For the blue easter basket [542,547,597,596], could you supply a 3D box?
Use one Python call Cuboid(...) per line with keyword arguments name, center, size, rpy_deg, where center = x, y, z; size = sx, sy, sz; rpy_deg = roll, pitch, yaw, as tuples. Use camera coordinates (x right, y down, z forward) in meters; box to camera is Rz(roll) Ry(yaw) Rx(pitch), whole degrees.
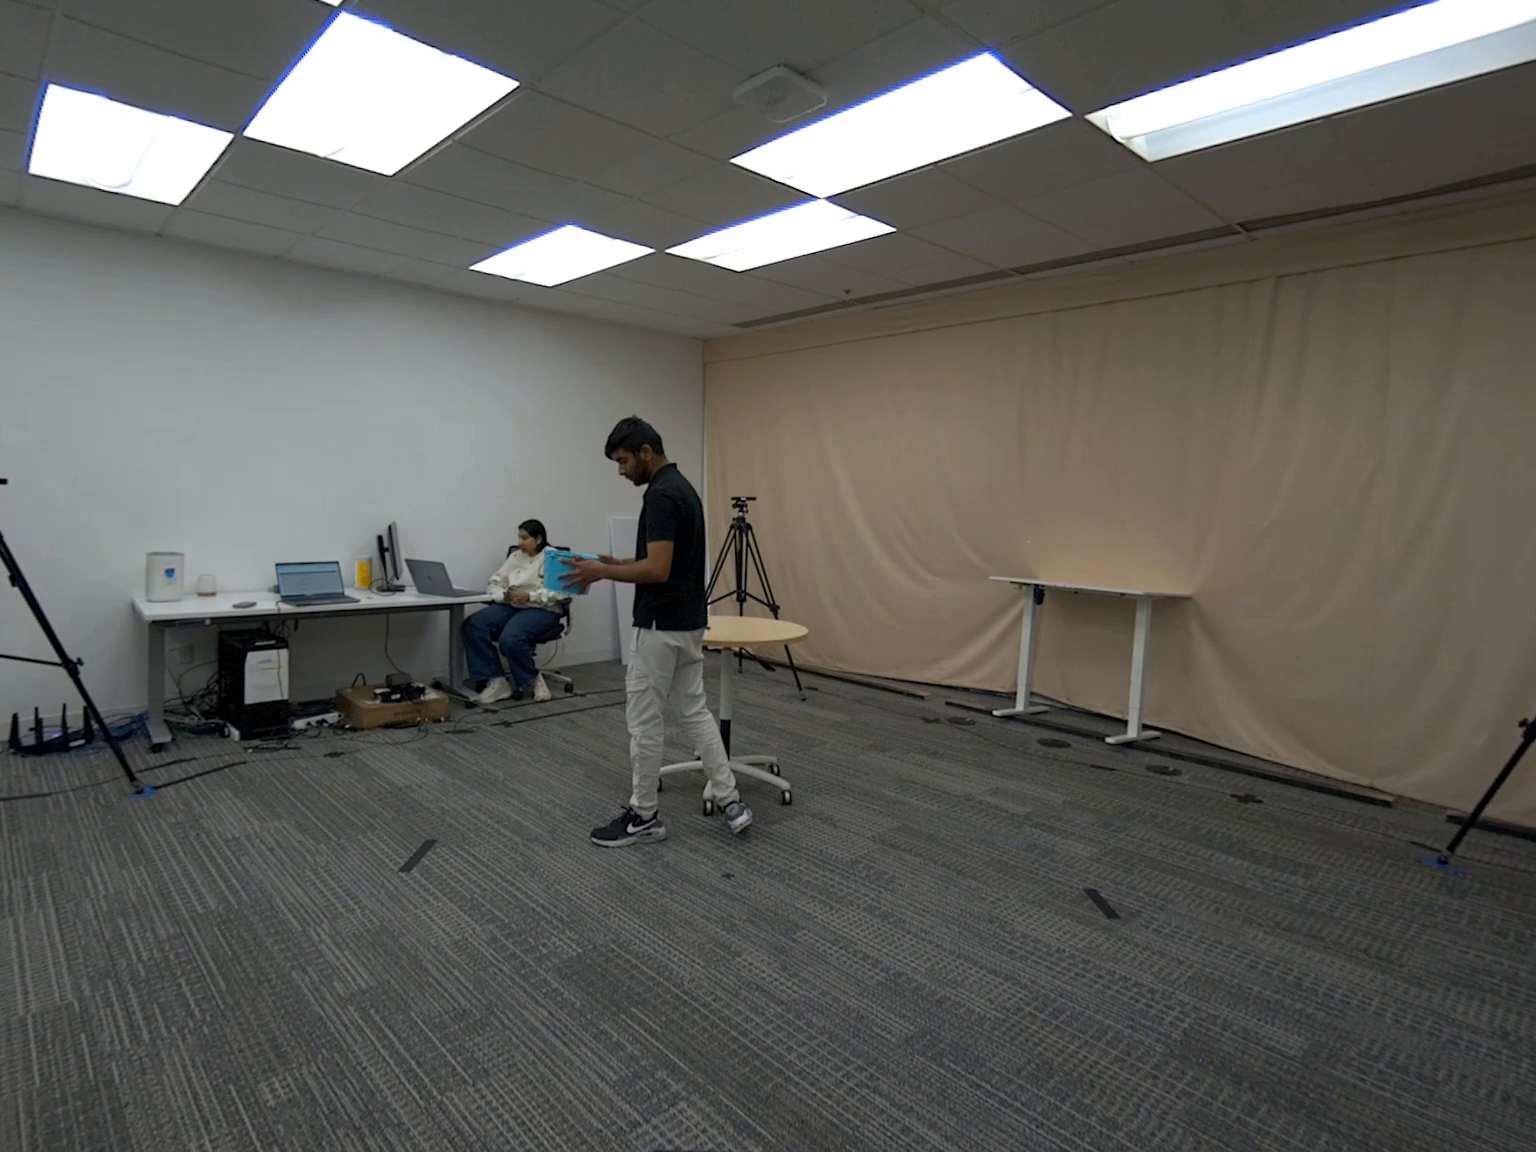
Cuboid(name="blue easter basket", center=(-0.802, -0.015, 3.409), size=(0.243, 0.155, 0.244), rpy_deg=(8, 4, -2))
